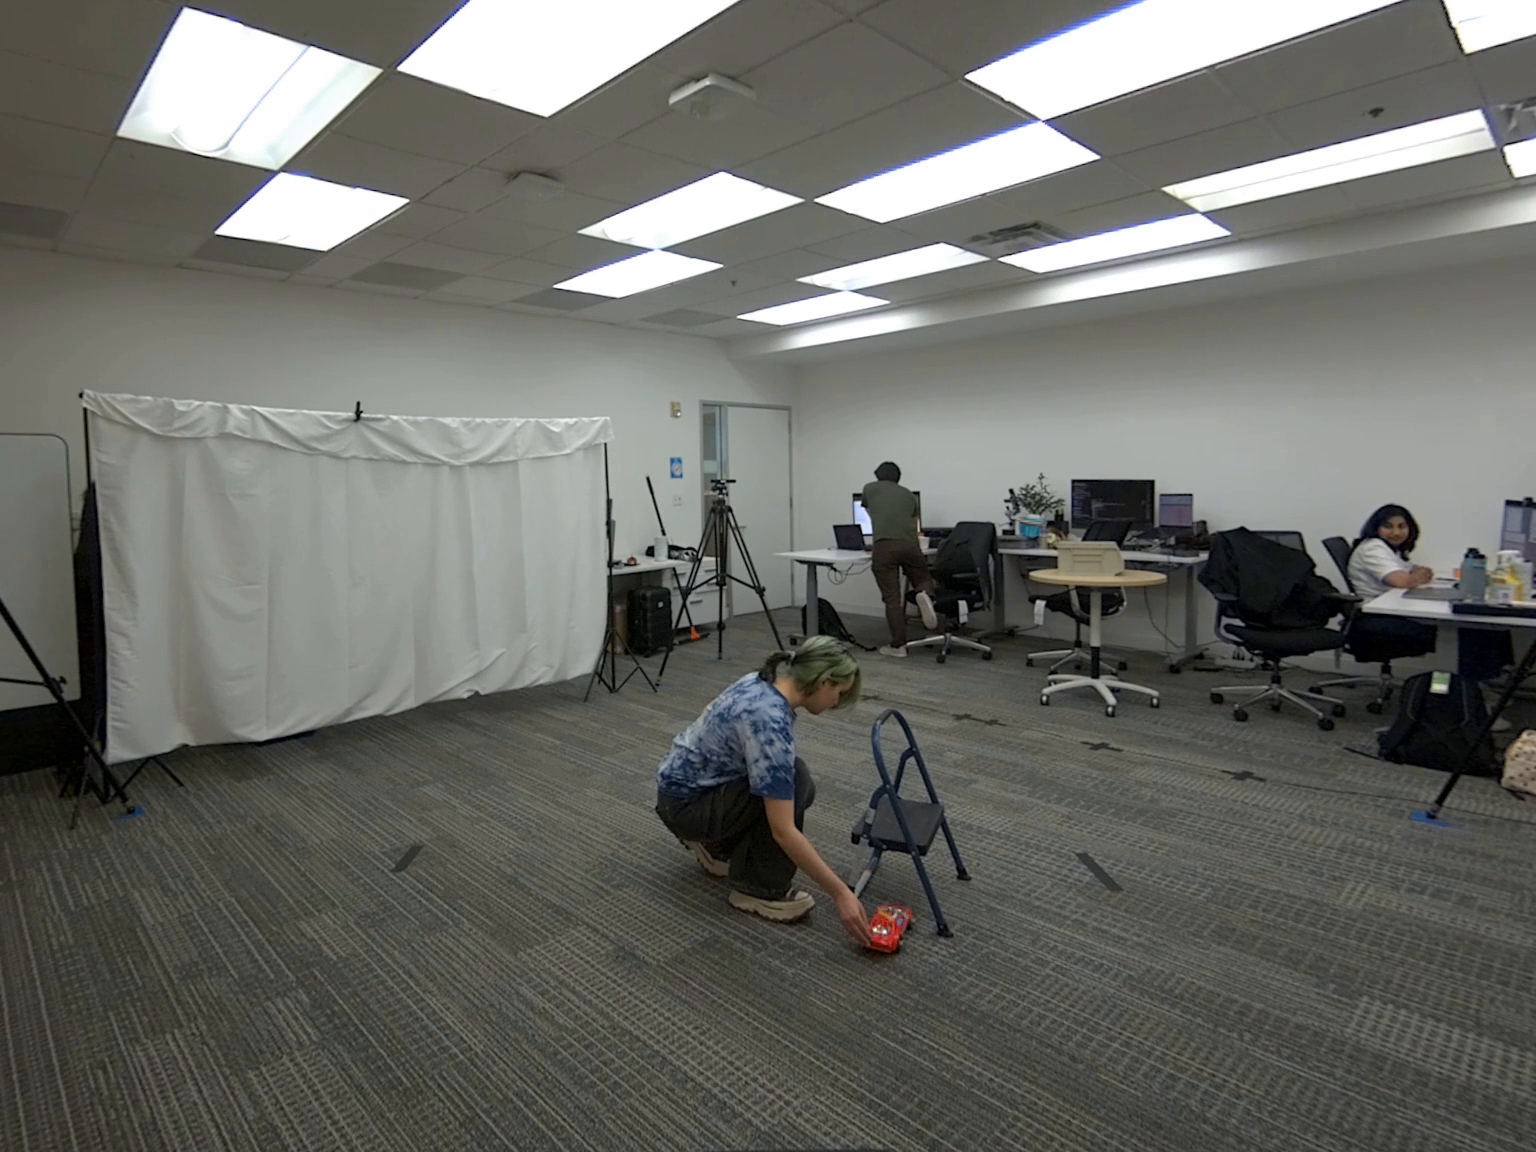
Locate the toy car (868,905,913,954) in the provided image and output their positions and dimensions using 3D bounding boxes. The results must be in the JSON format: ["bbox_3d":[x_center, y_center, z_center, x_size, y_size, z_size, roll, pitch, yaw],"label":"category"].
[{"bbox_3d":[0.362,1.068,2.582,0.133,0.083,0.247,3,-4,24],"label":"toy car"}]
